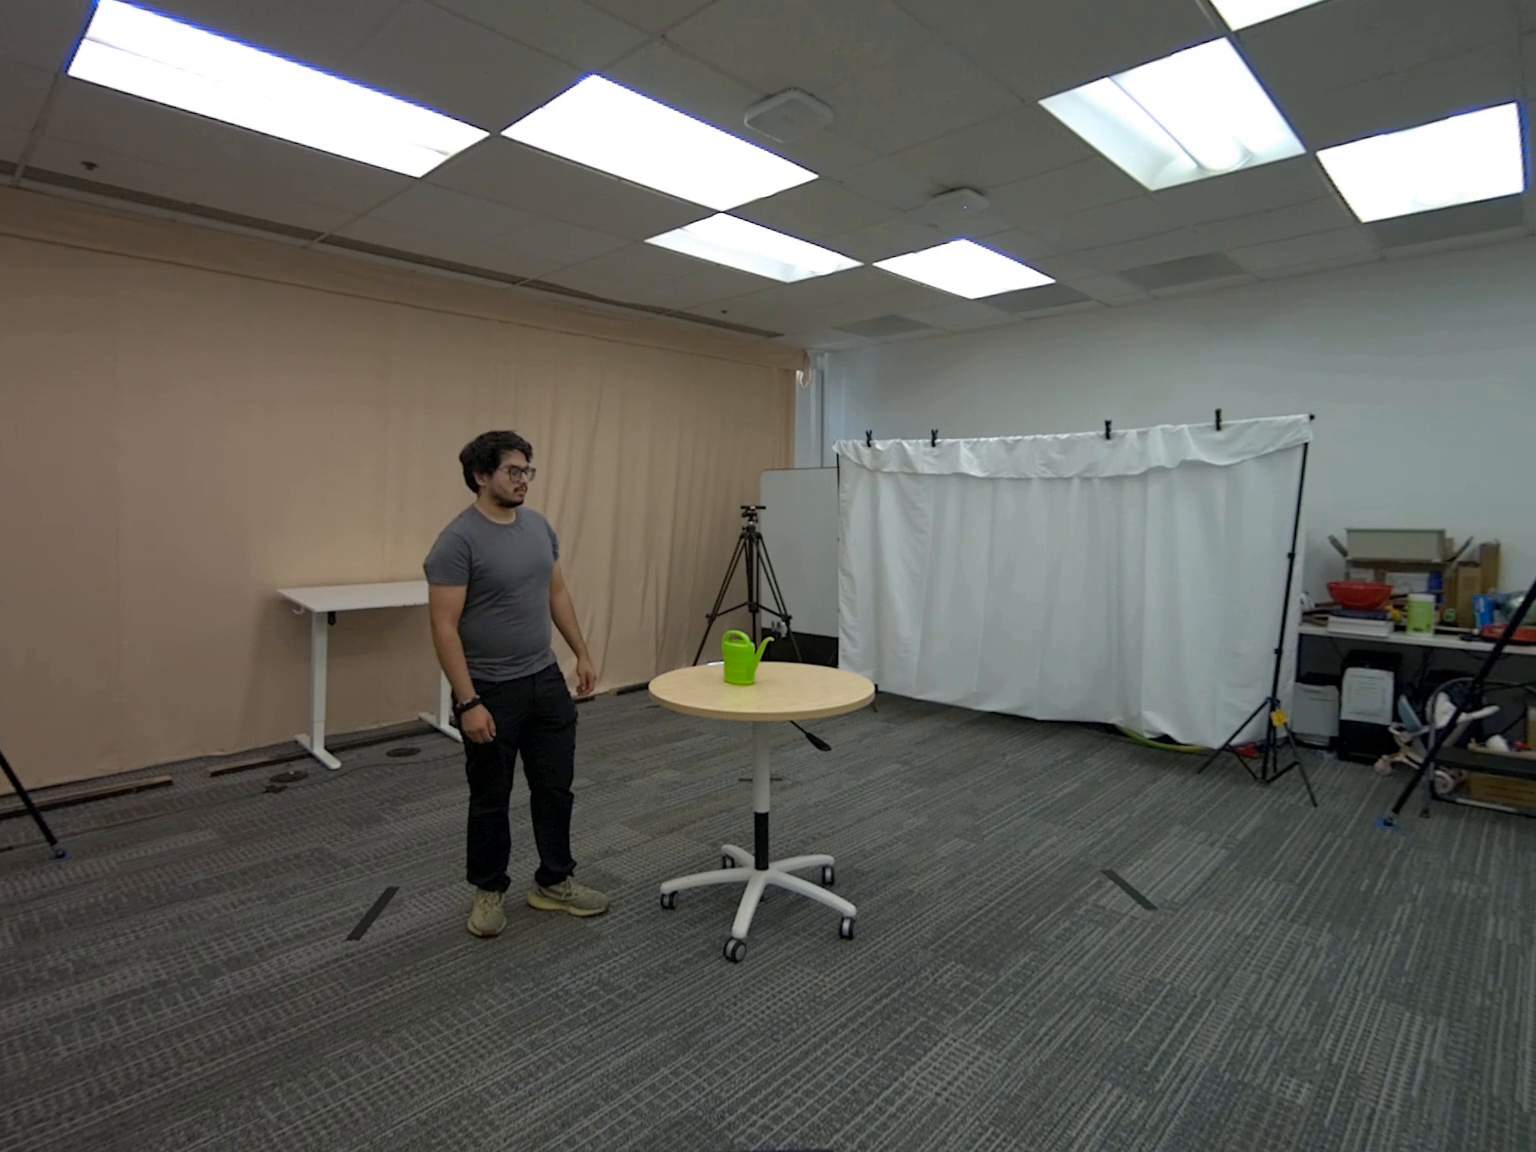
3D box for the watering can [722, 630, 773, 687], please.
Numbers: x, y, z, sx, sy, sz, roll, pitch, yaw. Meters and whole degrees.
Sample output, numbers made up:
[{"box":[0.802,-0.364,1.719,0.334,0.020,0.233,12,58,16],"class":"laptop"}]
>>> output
[{"box":[-0.077,0.282,2.860,0.096,0.176,0.284,0,3,-21],"class":"watering can"}]
